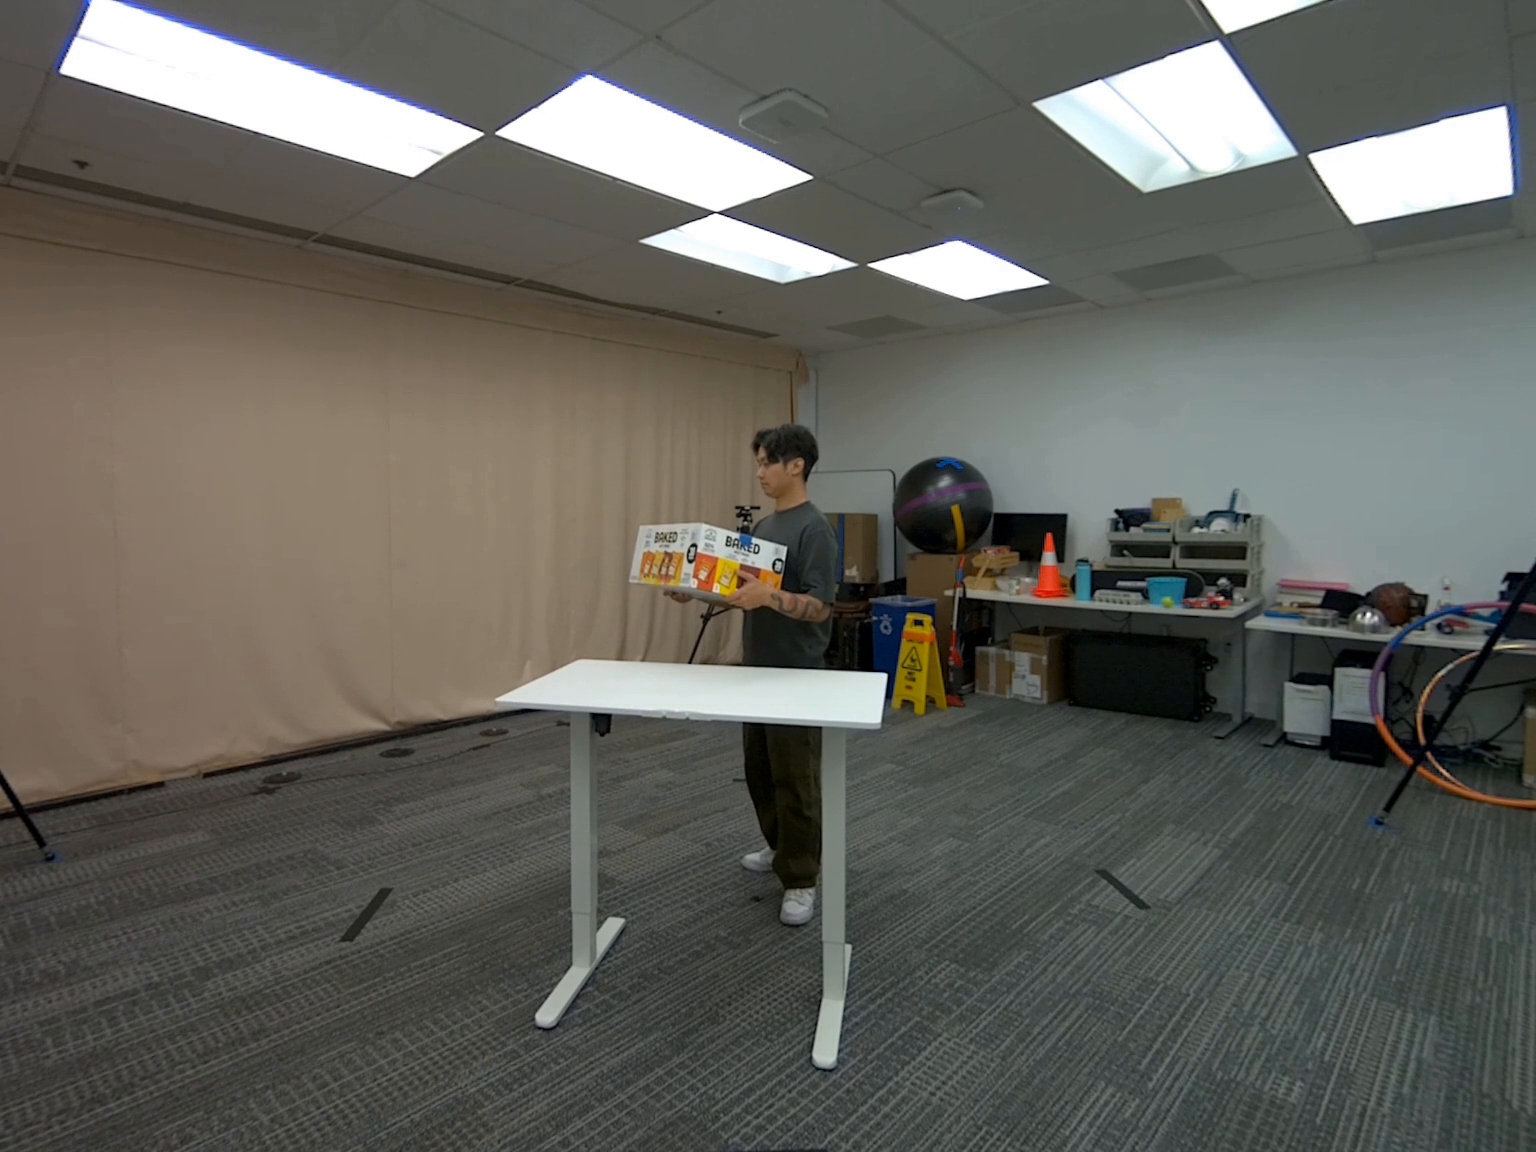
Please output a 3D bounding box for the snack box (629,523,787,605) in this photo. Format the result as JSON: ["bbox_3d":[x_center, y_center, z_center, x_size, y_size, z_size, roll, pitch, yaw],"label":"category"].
[{"bbox_3d":[-0.209,-0.034,2.828,0.329,0.206,0.417,15,-8,-34],"label":"snack box"}]
